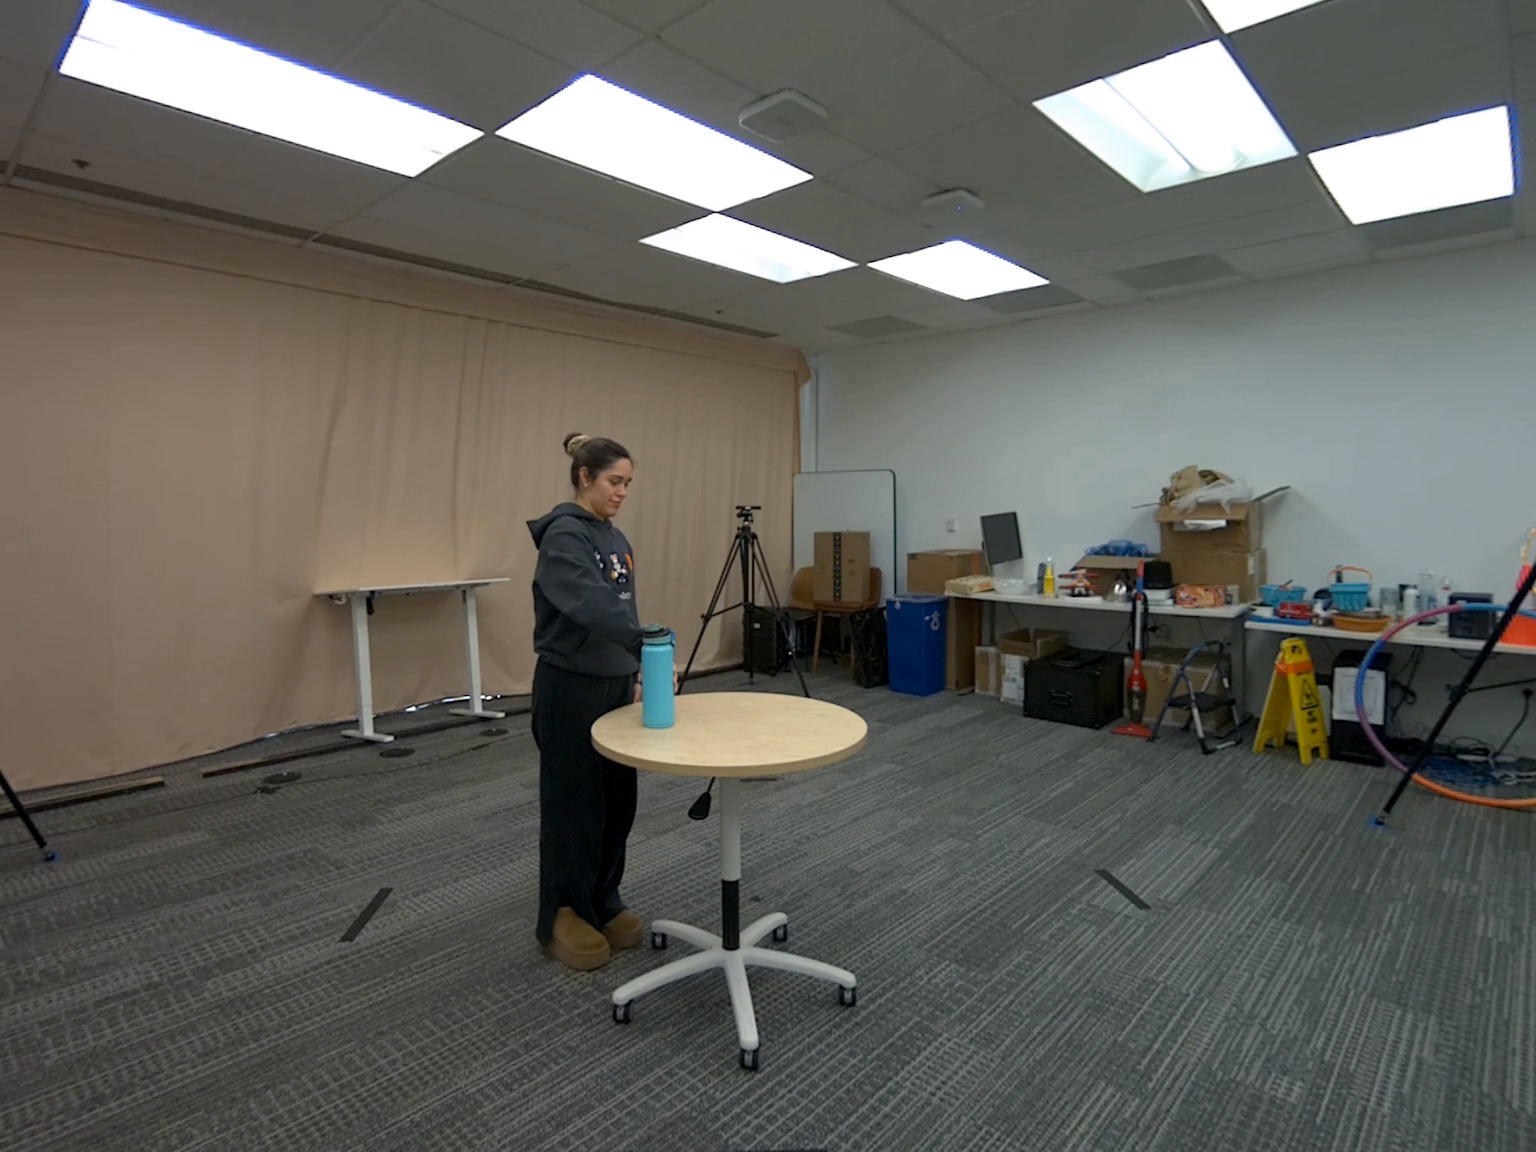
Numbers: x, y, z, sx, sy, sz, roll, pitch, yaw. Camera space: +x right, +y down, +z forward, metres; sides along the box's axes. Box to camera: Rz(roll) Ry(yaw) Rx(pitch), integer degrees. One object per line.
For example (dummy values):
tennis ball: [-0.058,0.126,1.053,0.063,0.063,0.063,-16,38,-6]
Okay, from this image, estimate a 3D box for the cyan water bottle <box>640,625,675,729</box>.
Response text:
cyan water bottle: [-0.300,0.277,2.348,0.092,0.283,0.092,-1,2,-2]
